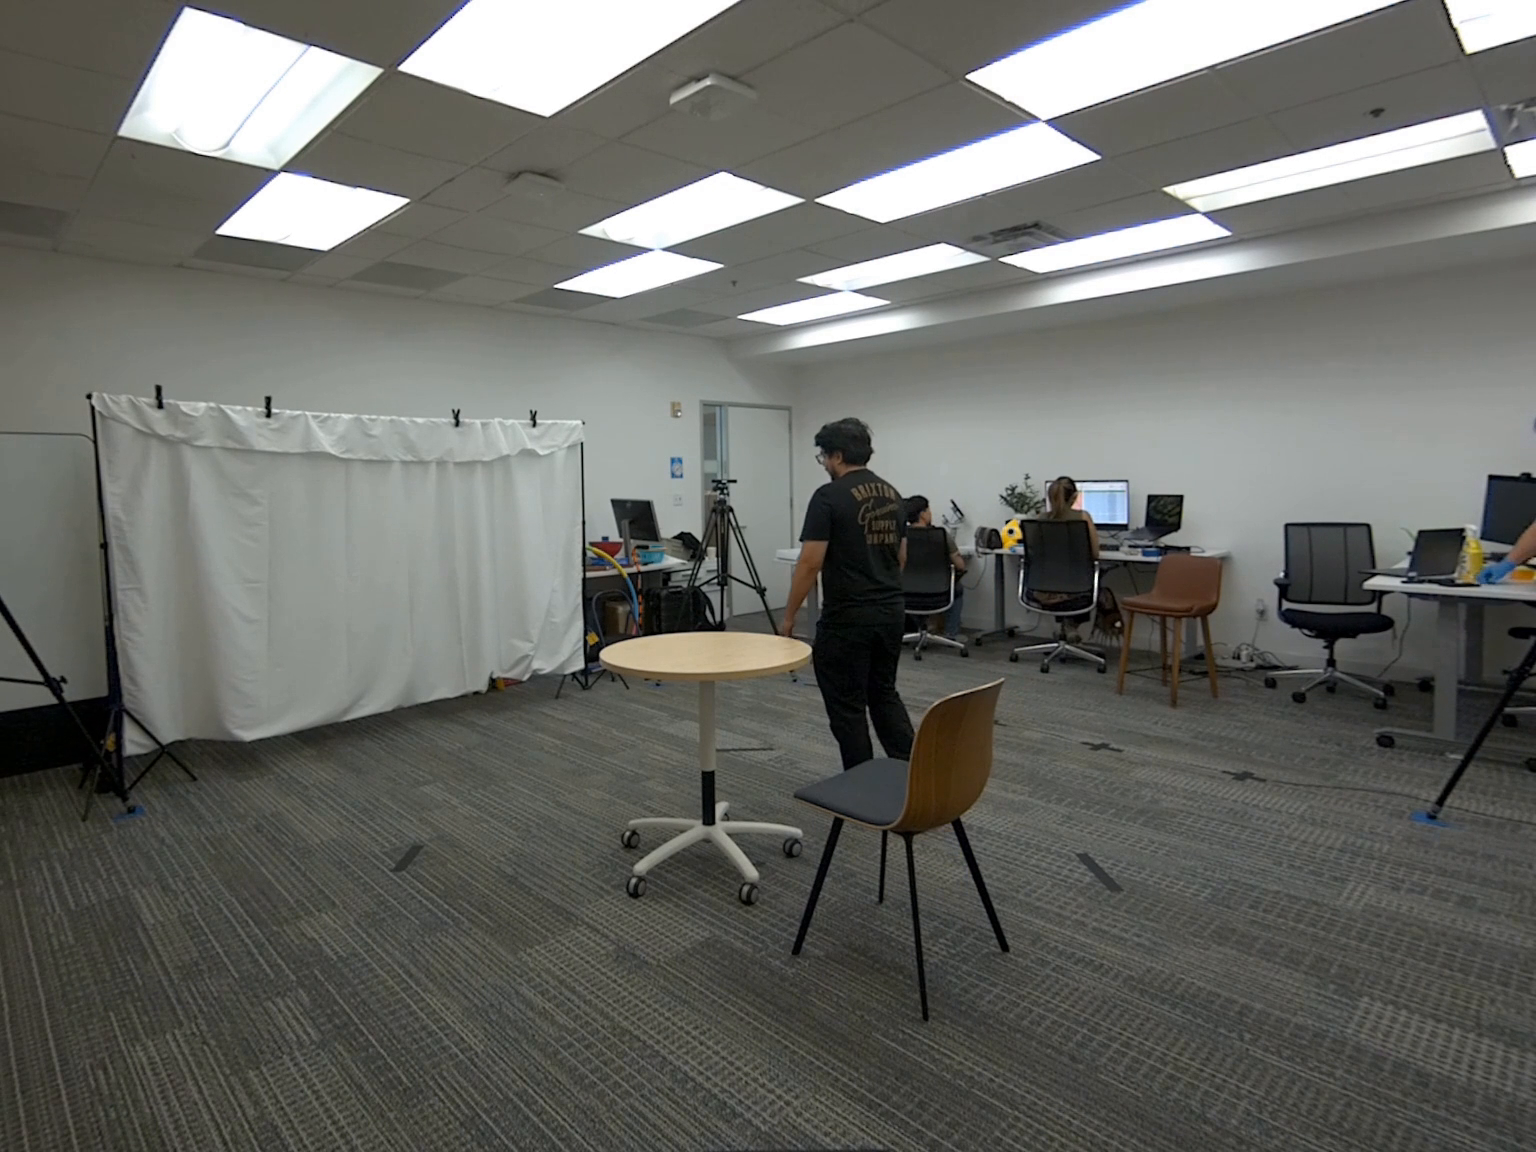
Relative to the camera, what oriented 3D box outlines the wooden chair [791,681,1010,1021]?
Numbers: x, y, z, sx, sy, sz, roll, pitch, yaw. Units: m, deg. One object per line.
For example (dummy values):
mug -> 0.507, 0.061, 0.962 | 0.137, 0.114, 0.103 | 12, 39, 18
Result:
wooden chair -> 0.377, 0.684, 2.481 | 0.540, 0.872, 0.465 | 9, 10, 43
